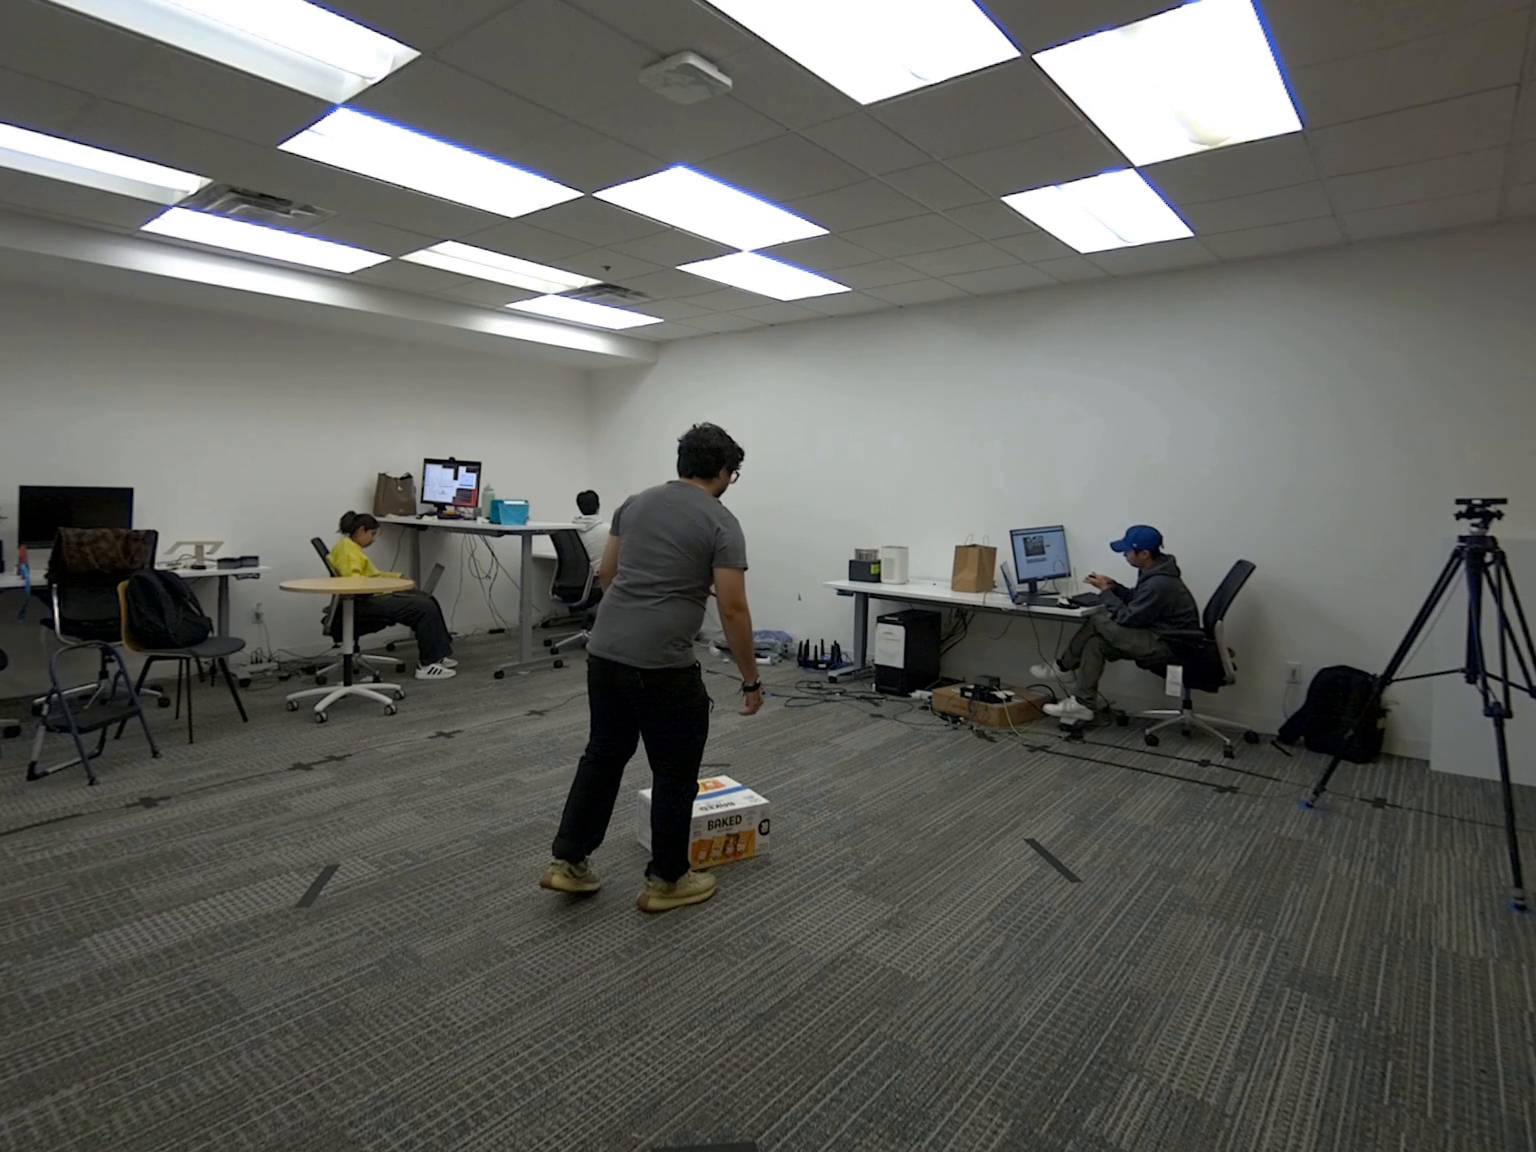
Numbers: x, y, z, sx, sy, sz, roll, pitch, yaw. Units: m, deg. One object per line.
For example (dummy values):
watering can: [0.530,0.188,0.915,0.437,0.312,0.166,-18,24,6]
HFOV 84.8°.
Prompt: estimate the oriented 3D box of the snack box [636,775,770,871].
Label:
snack box: [-0.261,0.951,3.297,0.394,0.205,0.351,-2,6,-32]
